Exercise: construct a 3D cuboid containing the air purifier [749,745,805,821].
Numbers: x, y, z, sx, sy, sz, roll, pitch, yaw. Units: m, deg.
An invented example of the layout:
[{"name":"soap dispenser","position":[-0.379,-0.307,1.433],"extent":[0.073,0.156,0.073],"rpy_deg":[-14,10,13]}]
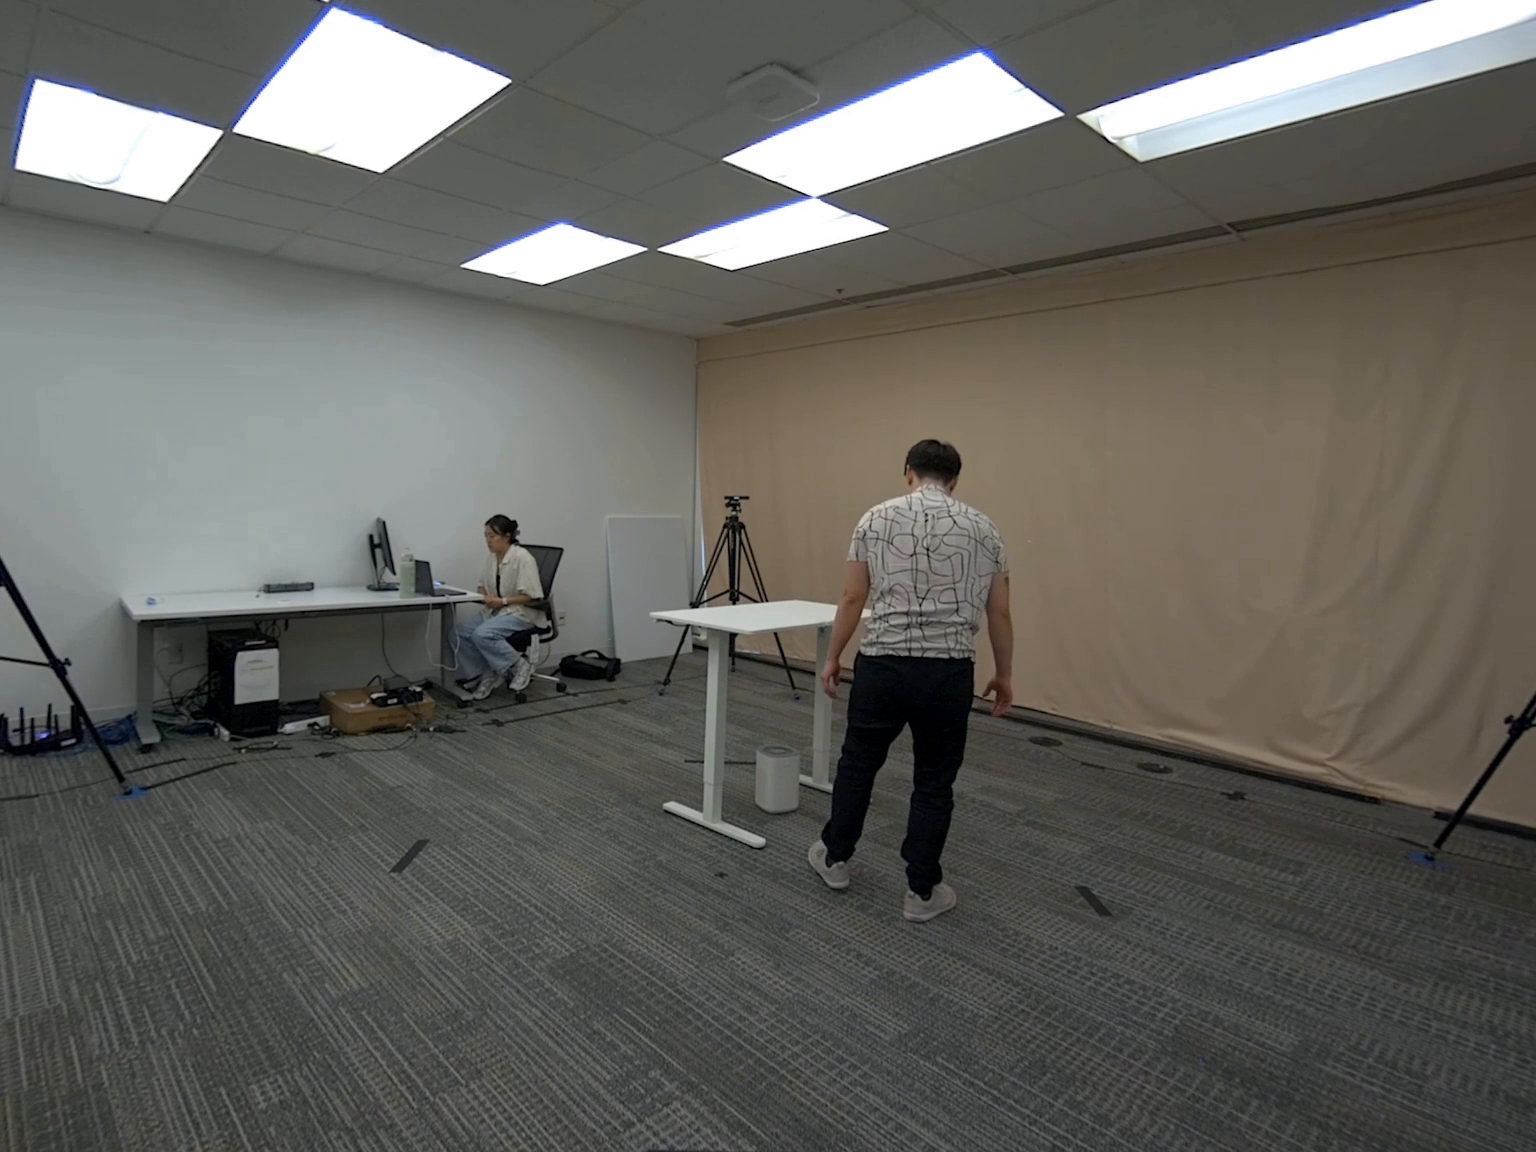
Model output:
[{"name":"air purifier","position":[0.038,0.920,3.798],"extent":[0.167,0.265,0.175],"rpy_deg":[0,4,-30]}]
